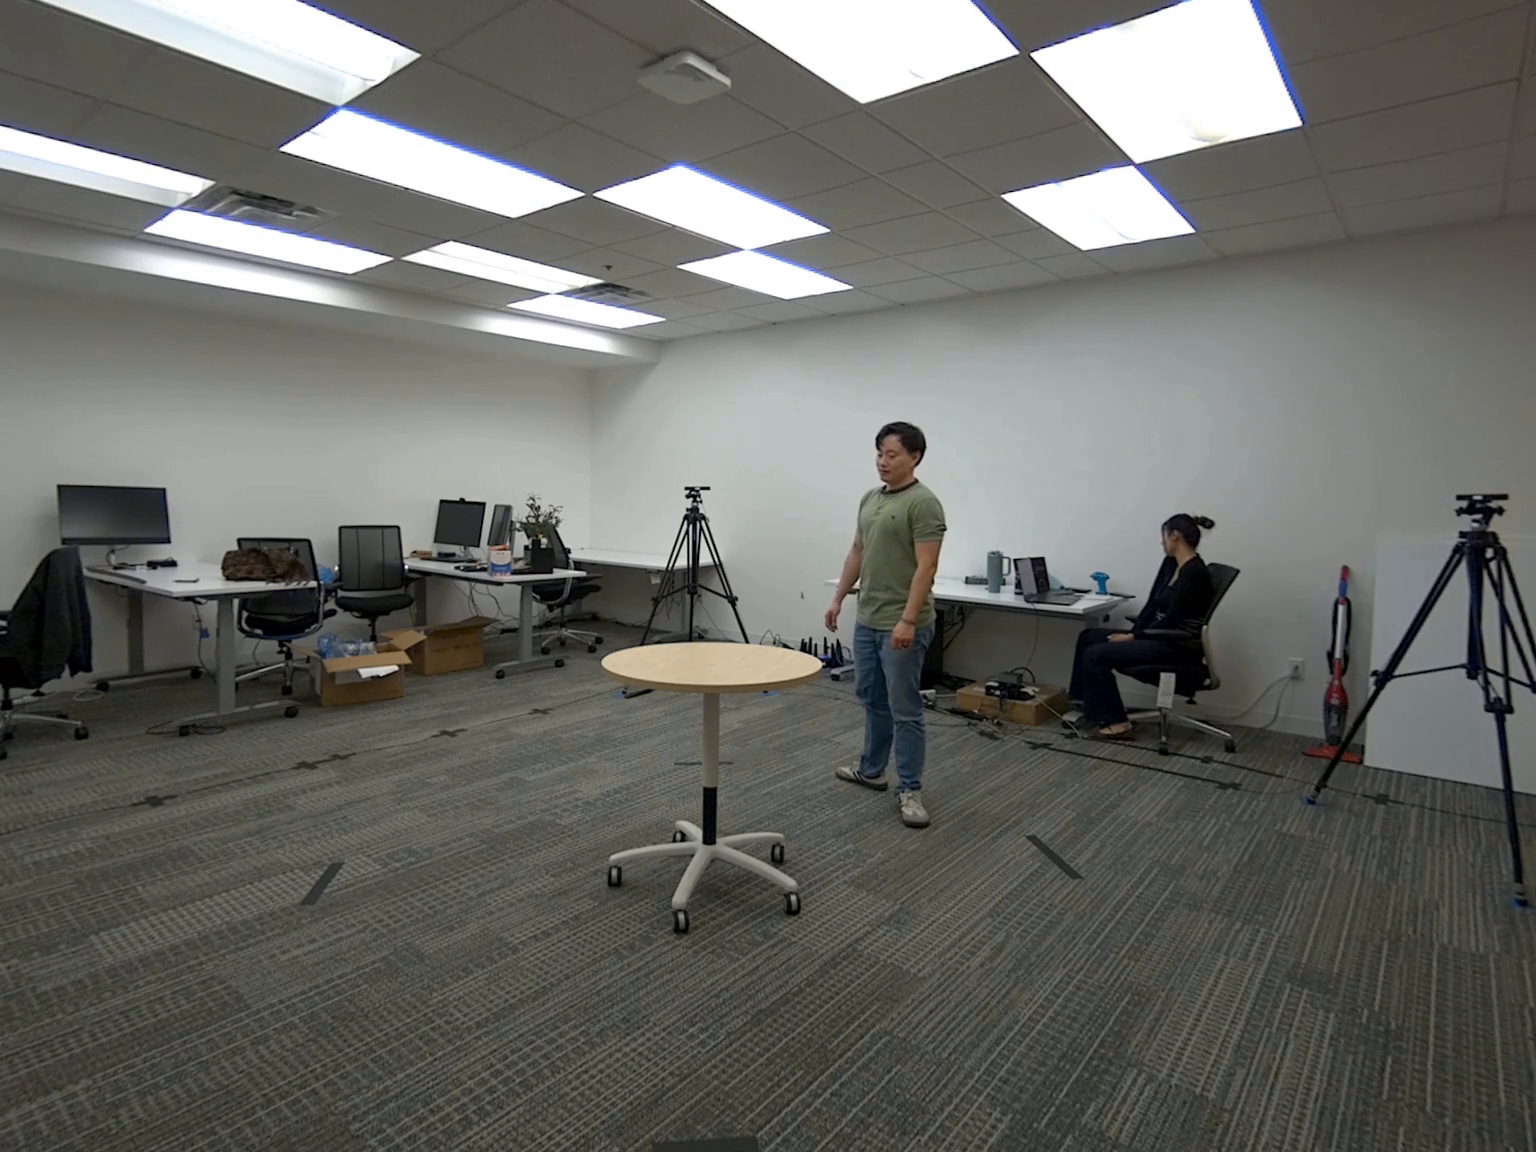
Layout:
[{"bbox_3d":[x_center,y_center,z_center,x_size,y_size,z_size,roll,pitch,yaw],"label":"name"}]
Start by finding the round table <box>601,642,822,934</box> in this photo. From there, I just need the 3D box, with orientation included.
[{"bbox_3d":[-0.214,0.687,2.982,0.763,0.792,0.767,1,4,-2],"label":"round table"}]
